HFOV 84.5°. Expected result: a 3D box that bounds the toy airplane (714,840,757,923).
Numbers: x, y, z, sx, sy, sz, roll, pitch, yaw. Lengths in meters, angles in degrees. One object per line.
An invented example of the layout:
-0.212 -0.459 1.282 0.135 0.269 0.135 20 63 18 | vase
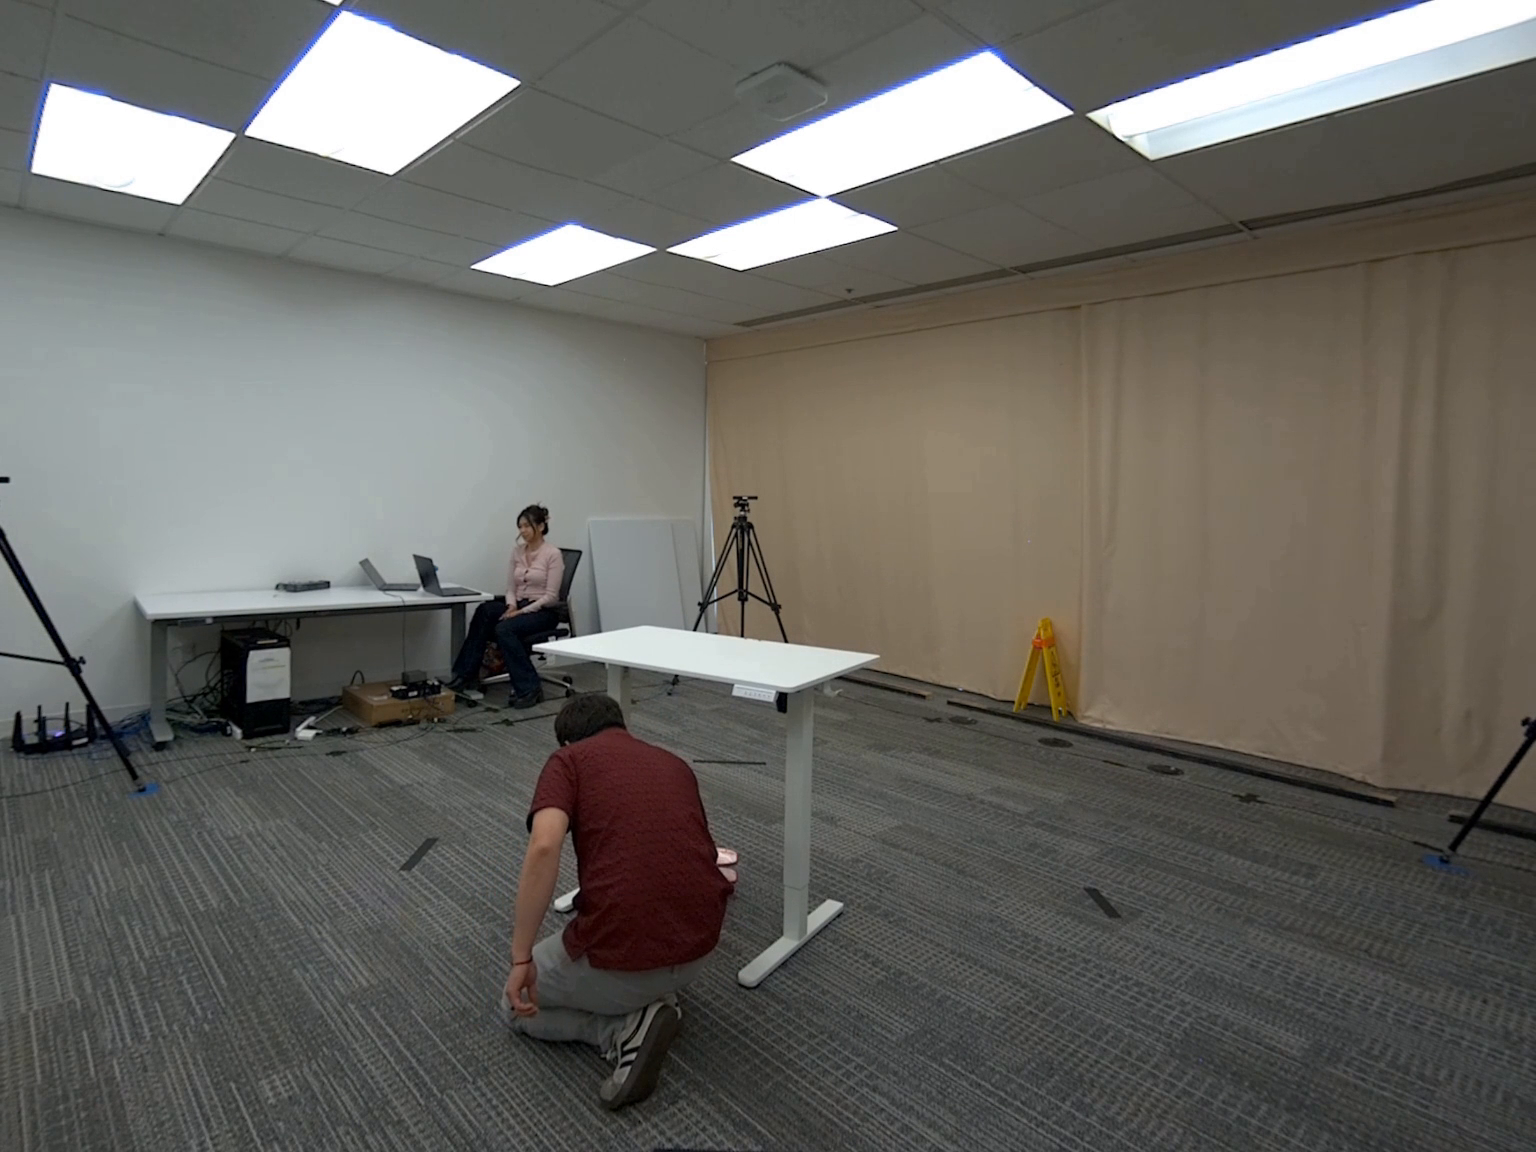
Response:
-0.216 1.054 2.908 0.246 0.156 0.265 -1 7 -27 | toy airplane
